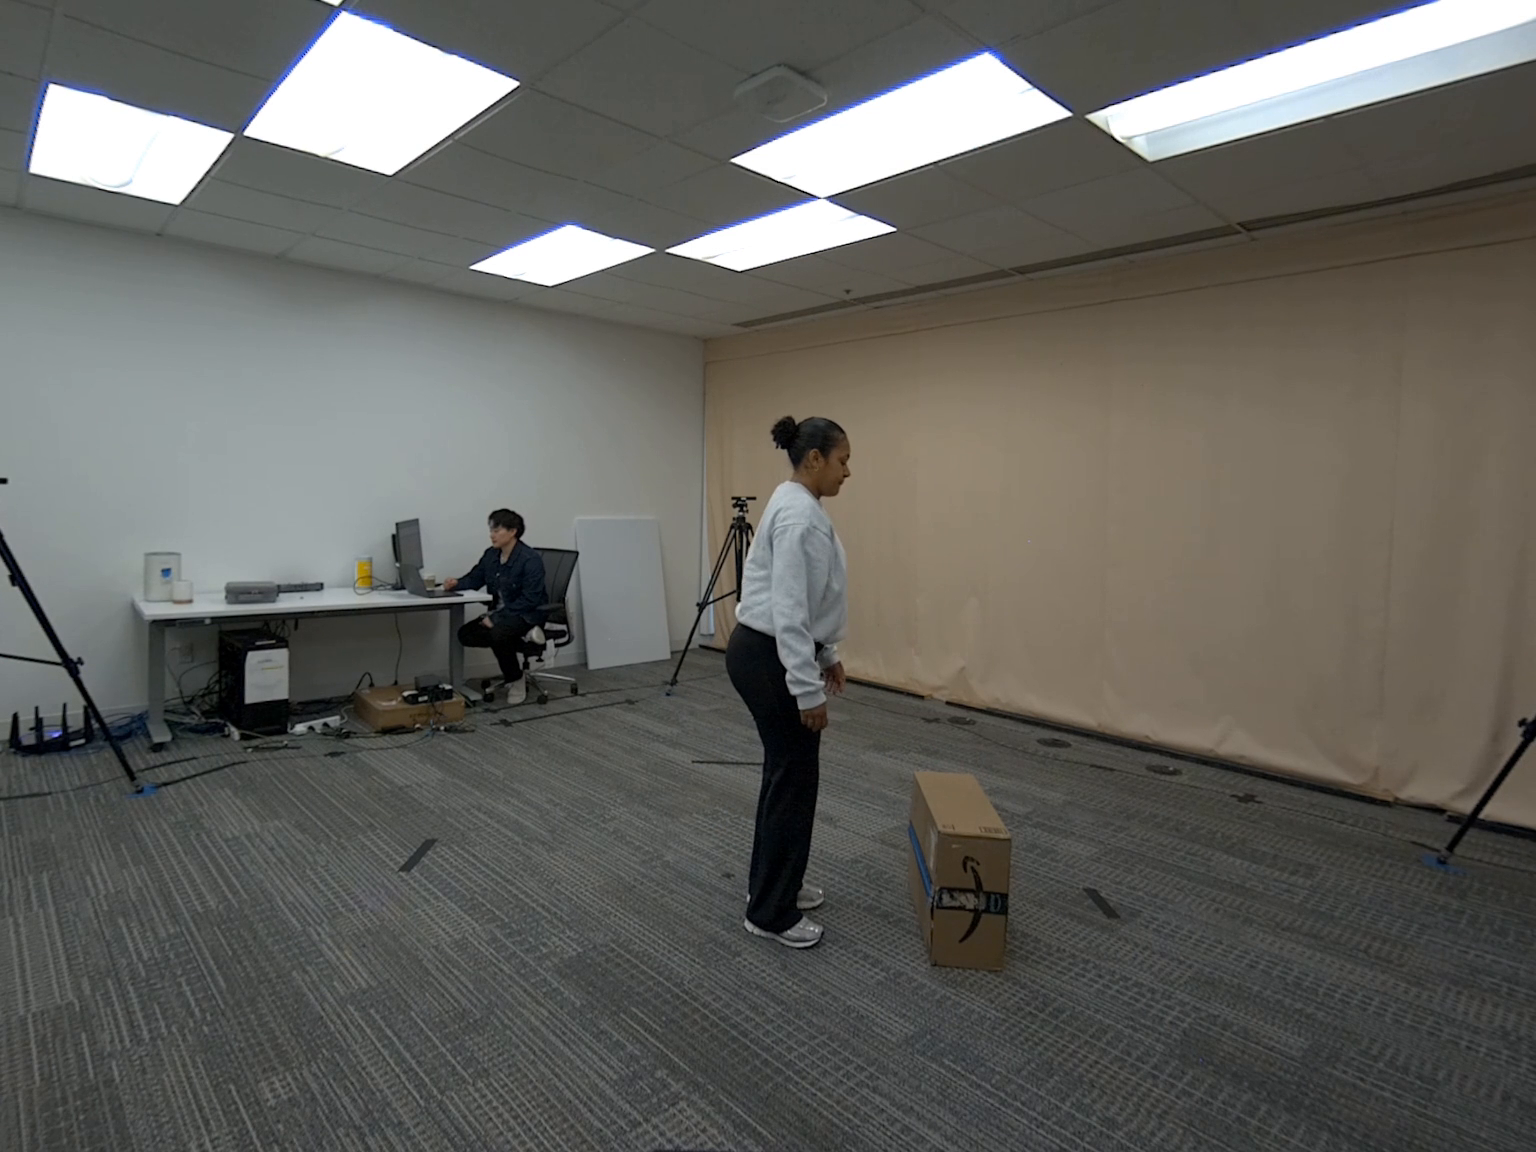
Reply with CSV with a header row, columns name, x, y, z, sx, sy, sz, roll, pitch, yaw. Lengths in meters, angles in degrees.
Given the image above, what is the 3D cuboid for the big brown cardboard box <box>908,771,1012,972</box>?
name,x,y,z,sx,sy,sz,roll,pitch,yaw
big brown cardboard box,0.611,0.947,2.782,0.234,0.416,0.588,3,5,3
